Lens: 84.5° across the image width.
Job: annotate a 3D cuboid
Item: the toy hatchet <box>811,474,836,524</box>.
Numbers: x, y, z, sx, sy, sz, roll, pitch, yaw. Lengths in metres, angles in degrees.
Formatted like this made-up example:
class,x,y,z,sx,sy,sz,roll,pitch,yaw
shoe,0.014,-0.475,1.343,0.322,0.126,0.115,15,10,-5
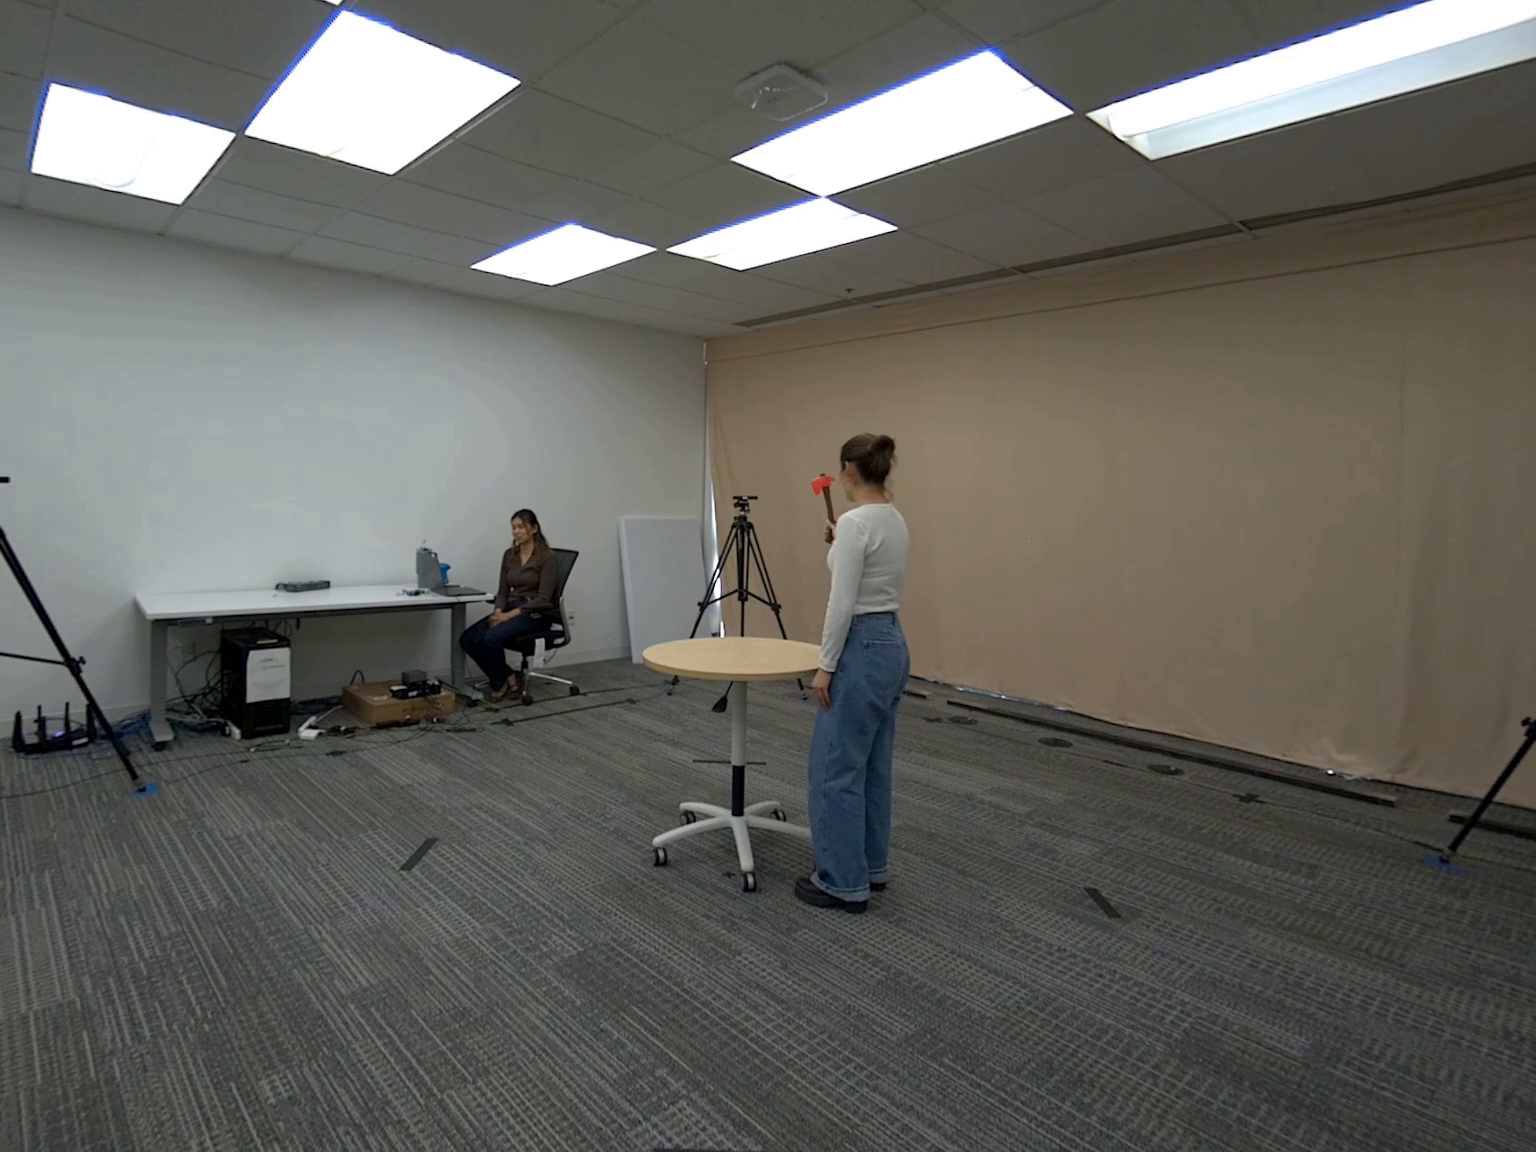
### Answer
class,x,y,z,sx,sy,sz,roll,pitch,yaw
toy hatchet,0.211,-0.268,3.259,0.127,0.272,0.030,12,-15,-40
